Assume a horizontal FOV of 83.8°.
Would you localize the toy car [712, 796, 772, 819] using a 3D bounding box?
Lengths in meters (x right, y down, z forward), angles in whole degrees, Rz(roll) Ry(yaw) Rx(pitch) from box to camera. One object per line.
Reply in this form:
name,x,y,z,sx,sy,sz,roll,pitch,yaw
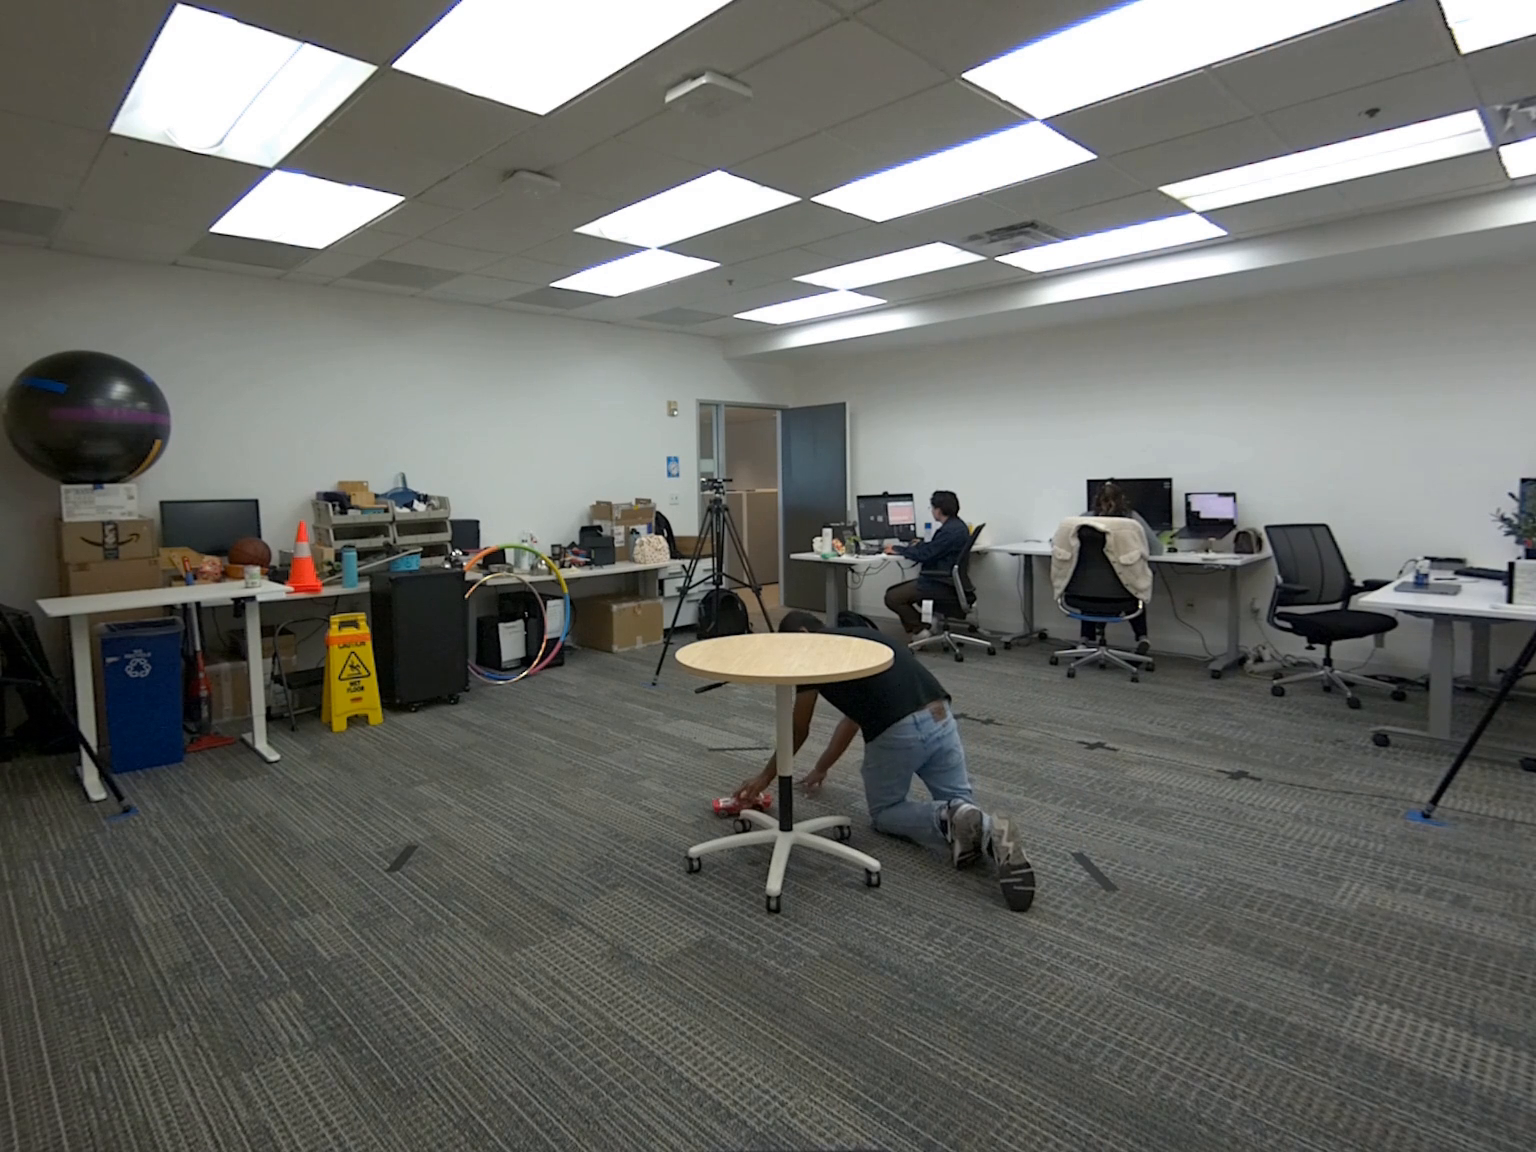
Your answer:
toy car,-0.102,0.951,3.588,0.253,0.082,0.132,-11,8,-5
